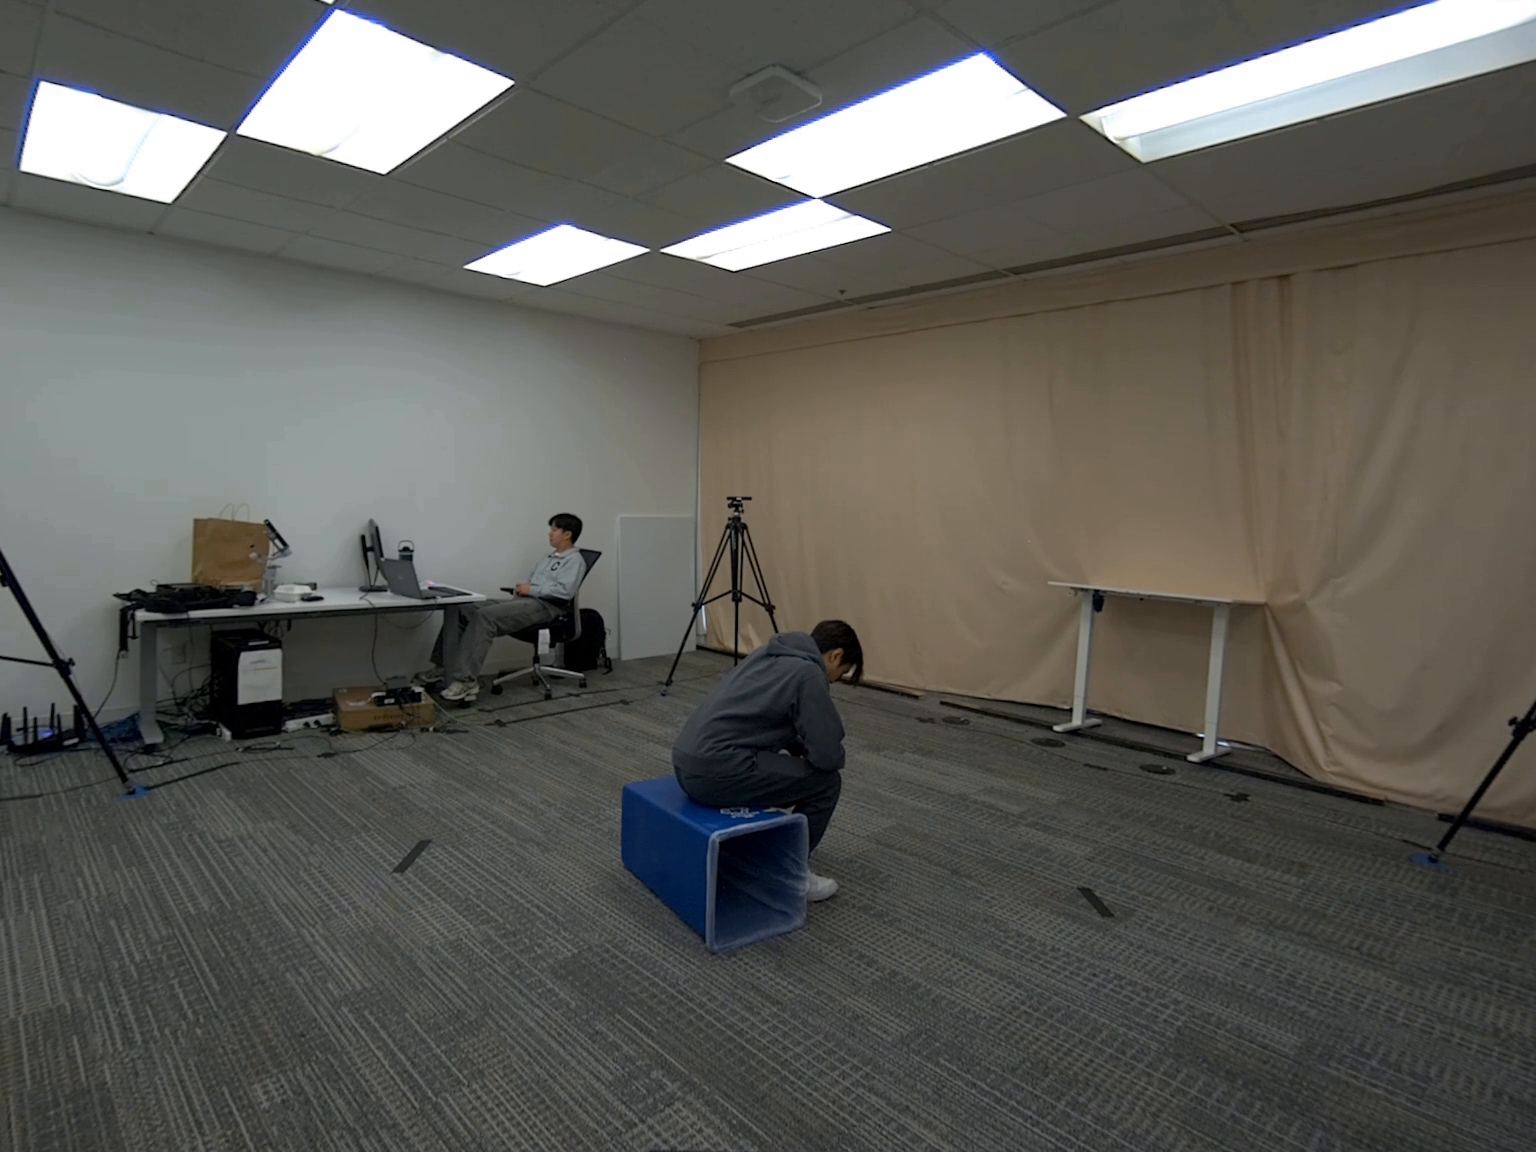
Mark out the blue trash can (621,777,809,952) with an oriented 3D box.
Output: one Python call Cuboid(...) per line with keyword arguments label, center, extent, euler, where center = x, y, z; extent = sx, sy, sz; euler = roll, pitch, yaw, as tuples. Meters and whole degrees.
Cuboid(label="blue trash can", center=(-0.237, 0.952, 2.938), extent=(0.366, 0.378, 0.730), euler=(-1, 2, -35))
